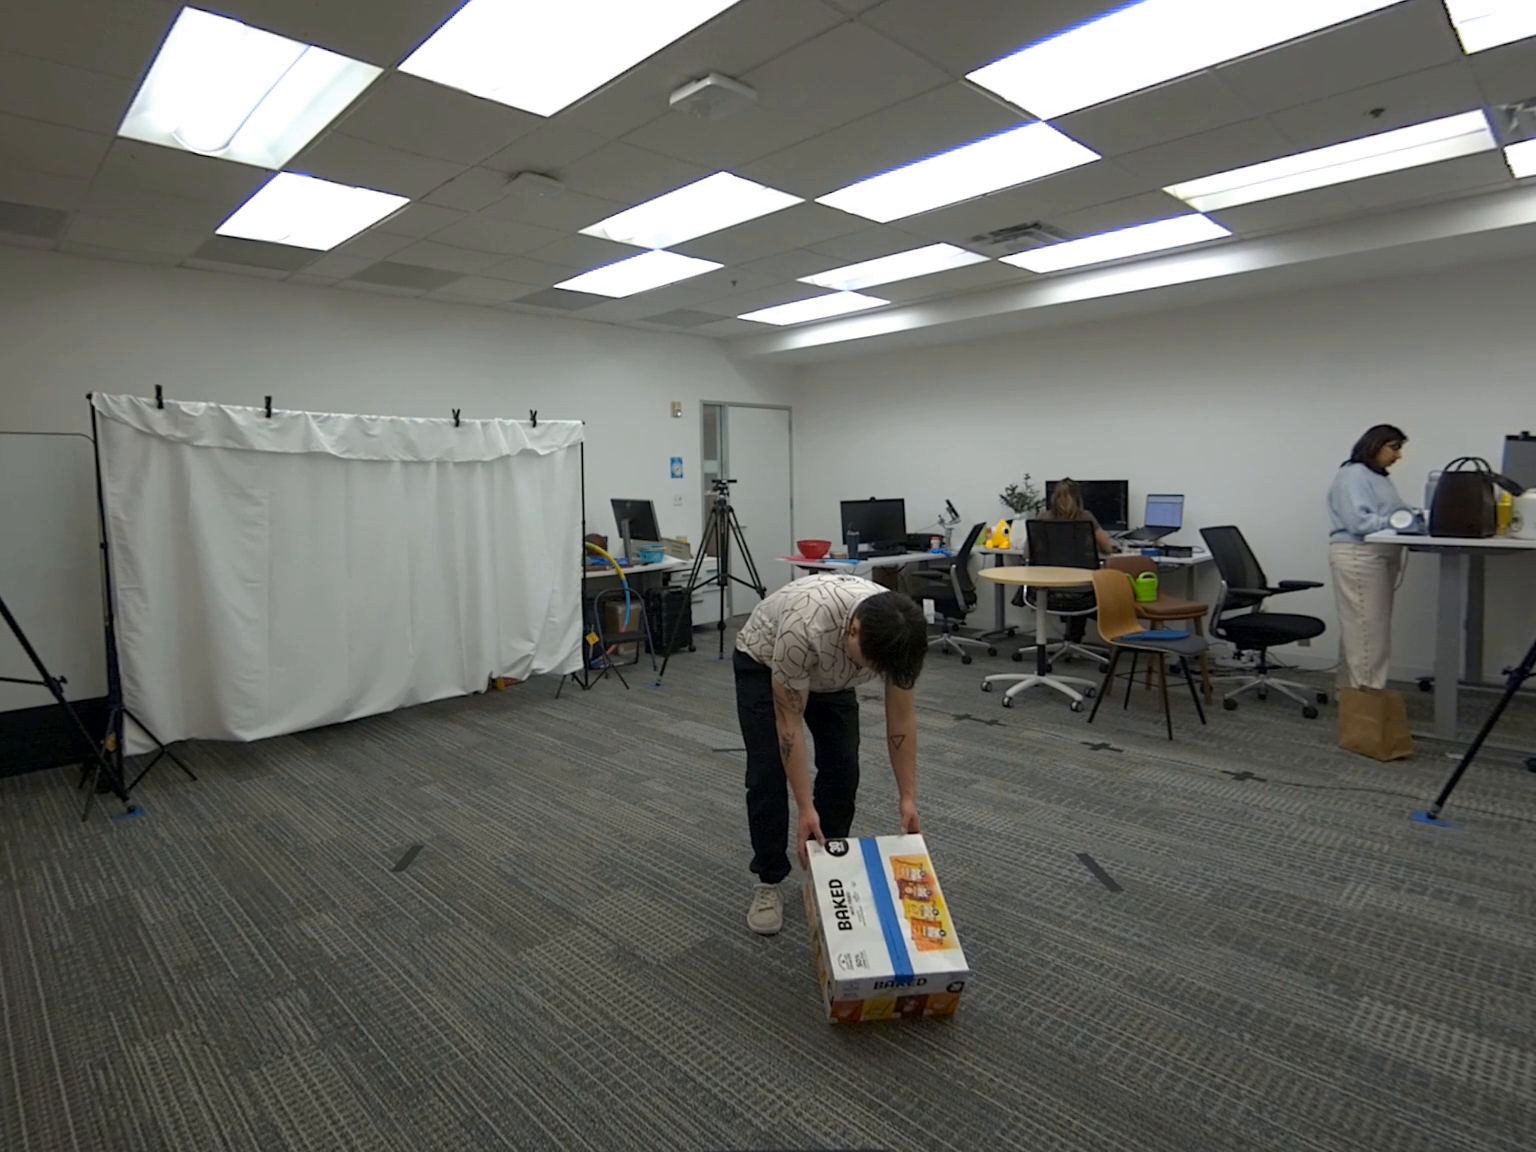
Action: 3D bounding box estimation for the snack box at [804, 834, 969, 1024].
[{"bbox_3d":[0.302,0.943,2.315,0.338,0.201,0.417,-2,35,-8],"label":"snack box"}]
